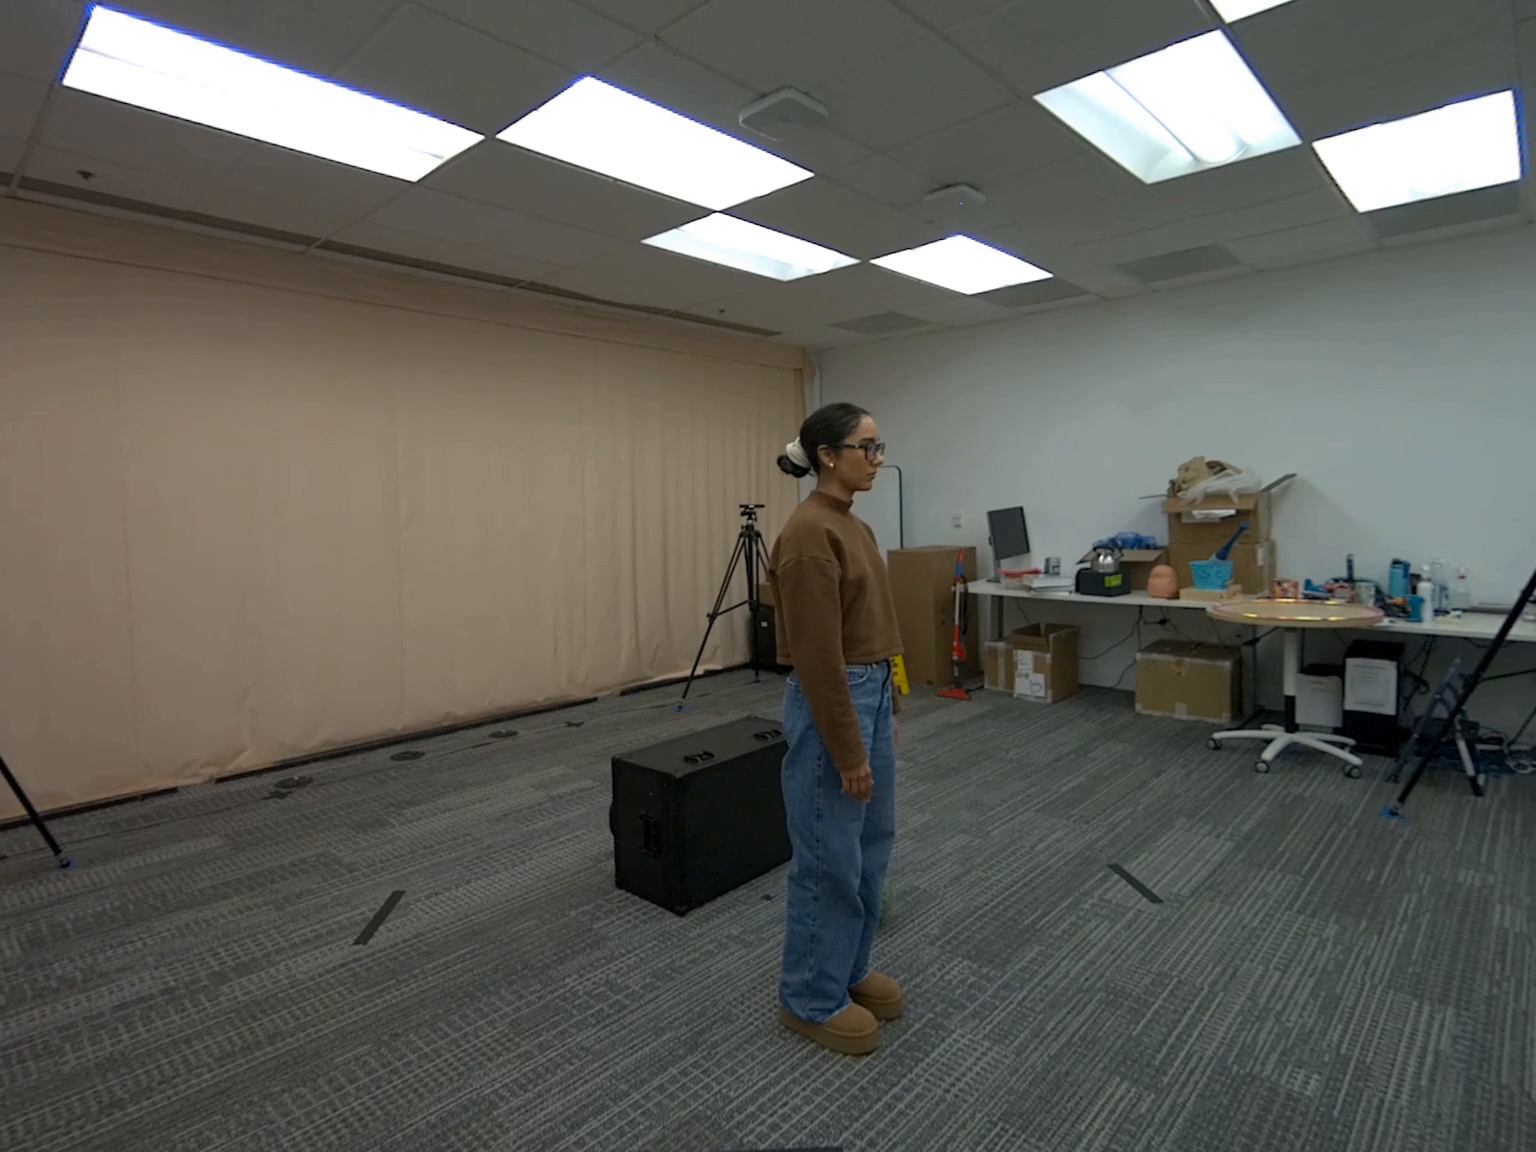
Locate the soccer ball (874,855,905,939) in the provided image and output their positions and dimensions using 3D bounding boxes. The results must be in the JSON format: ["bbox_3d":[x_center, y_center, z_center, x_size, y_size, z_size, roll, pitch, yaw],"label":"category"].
[{"bbox_3d":[0.335,1.053,2.795,0.187,0.187,0.188,-1,4,-2],"label":"soccer ball"}]
